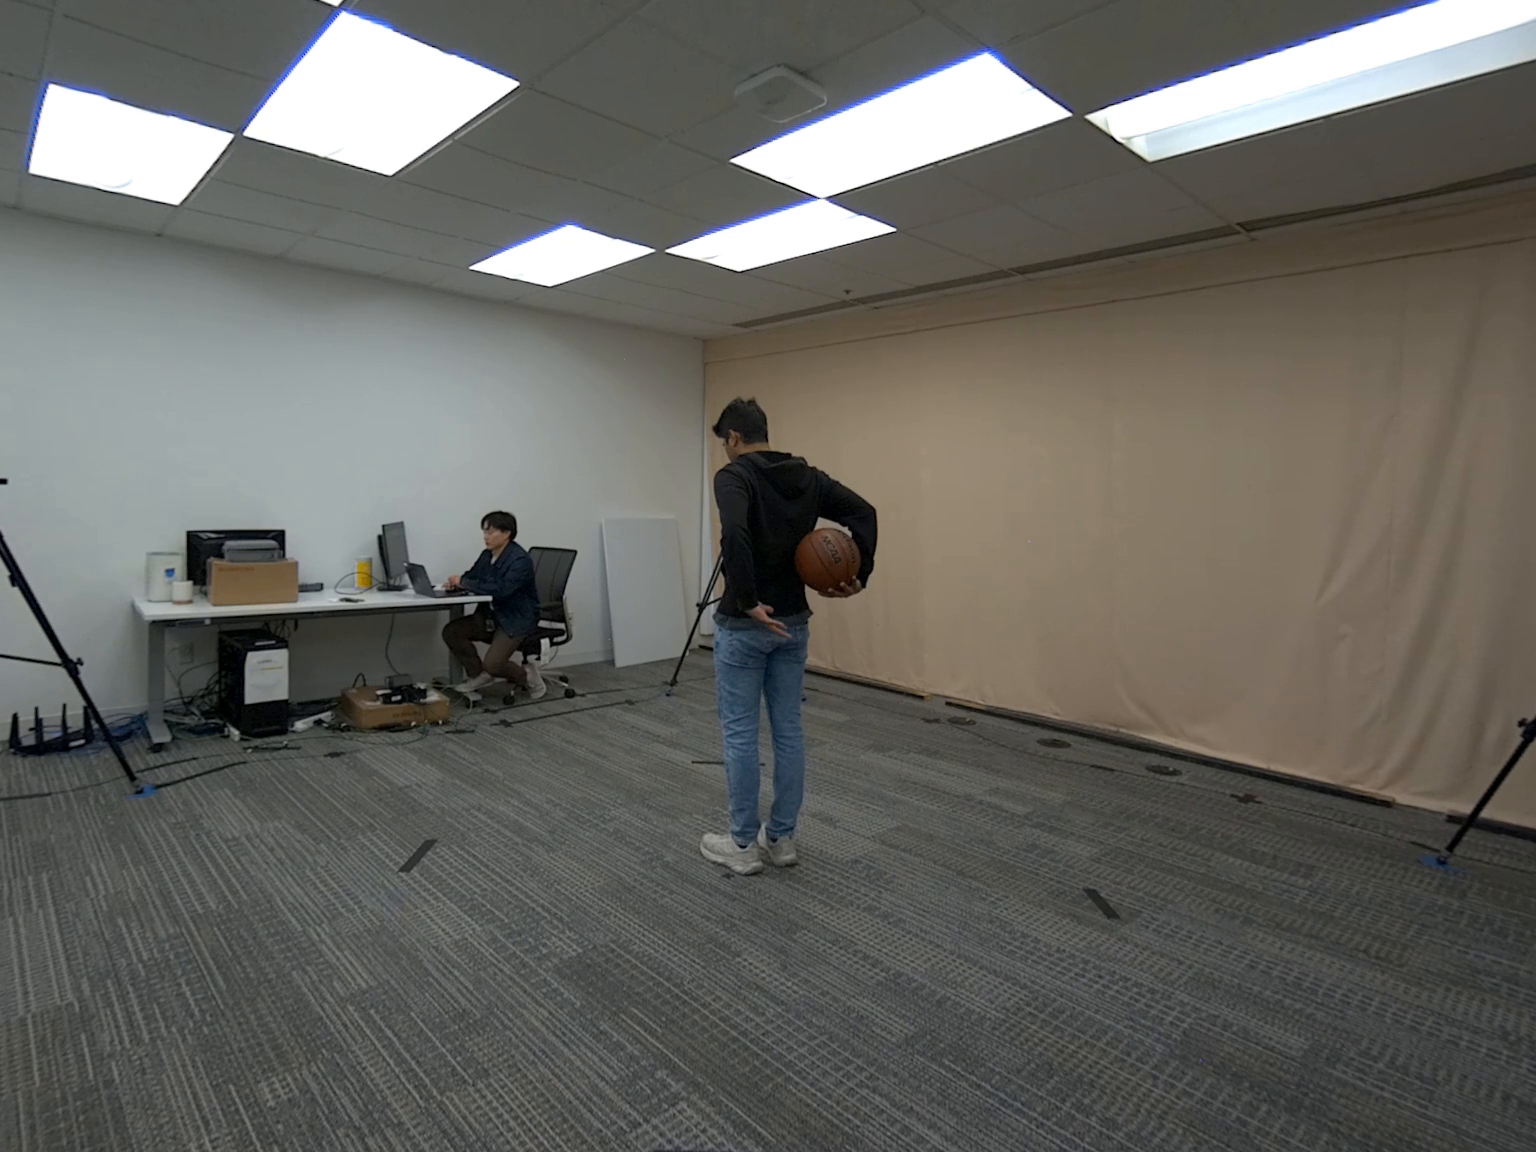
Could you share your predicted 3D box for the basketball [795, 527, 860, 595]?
[{"bbox_3d":[0.203,-0.059,3.091,0.236,0.235,0.237,1,4,-1],"label":"basketball"}]
